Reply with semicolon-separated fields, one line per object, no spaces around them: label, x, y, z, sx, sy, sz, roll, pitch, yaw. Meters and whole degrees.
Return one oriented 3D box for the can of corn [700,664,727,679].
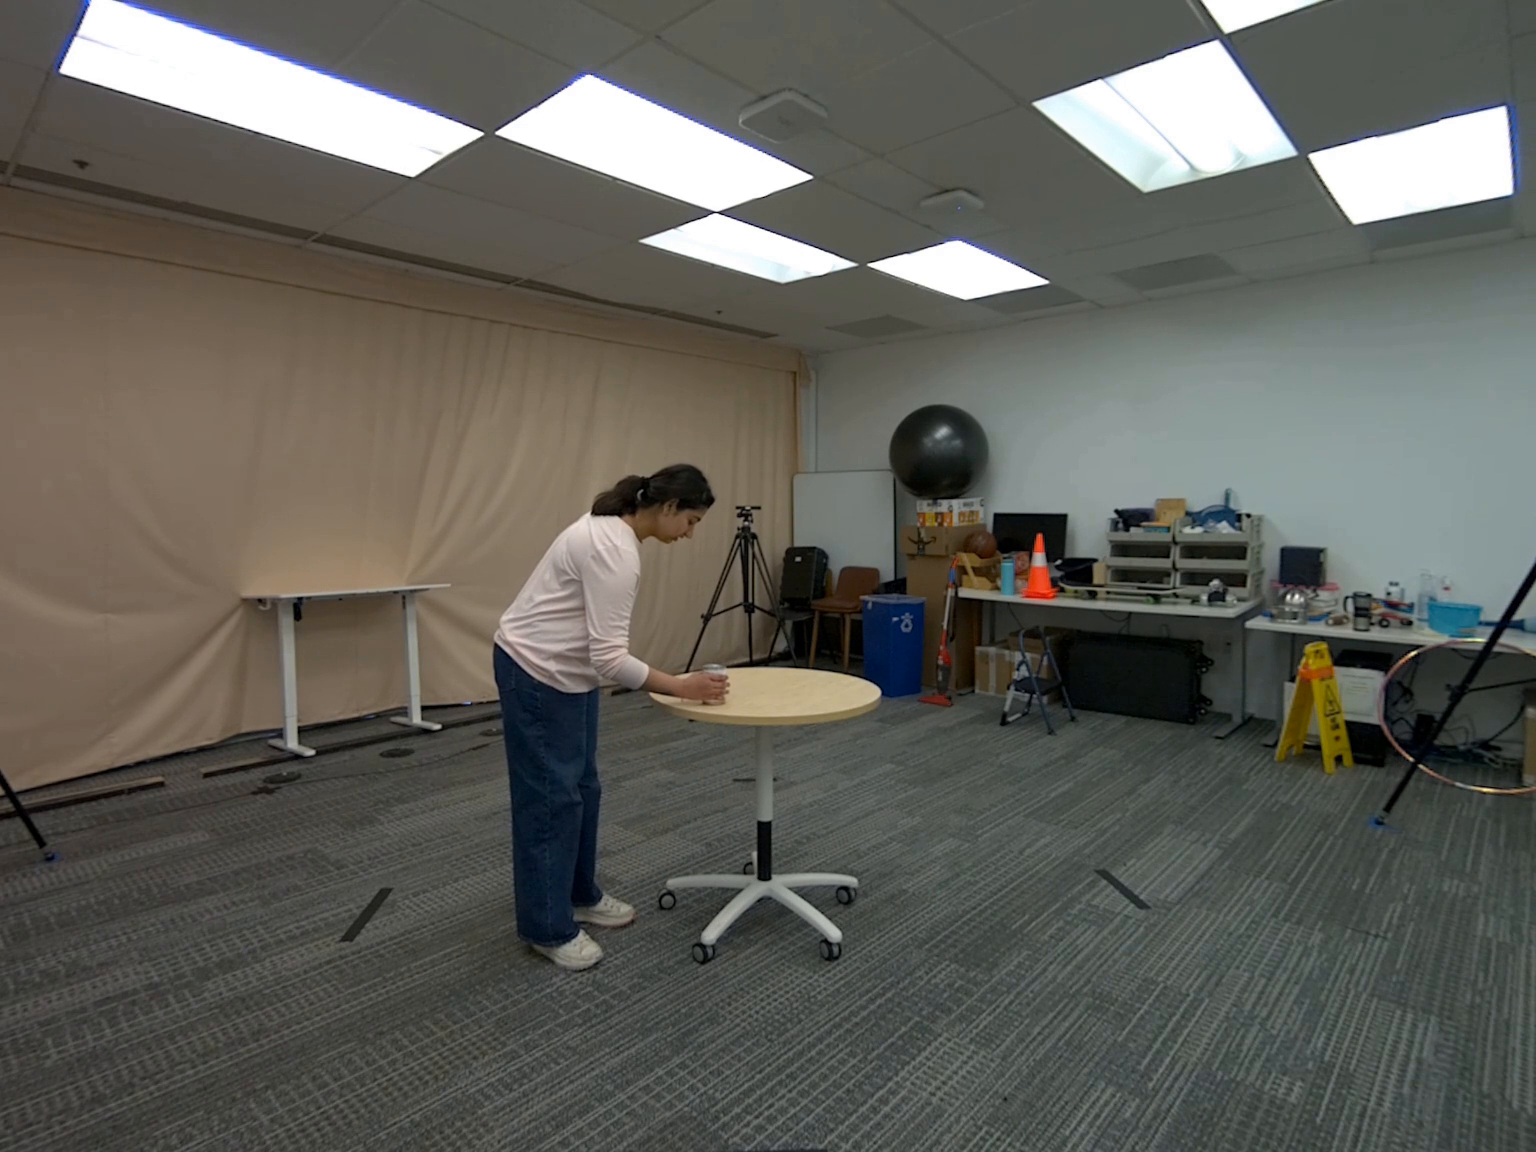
can of corn;-0.164;0.342;2.584;0.074;0.111;0.074;-3;5;-2
